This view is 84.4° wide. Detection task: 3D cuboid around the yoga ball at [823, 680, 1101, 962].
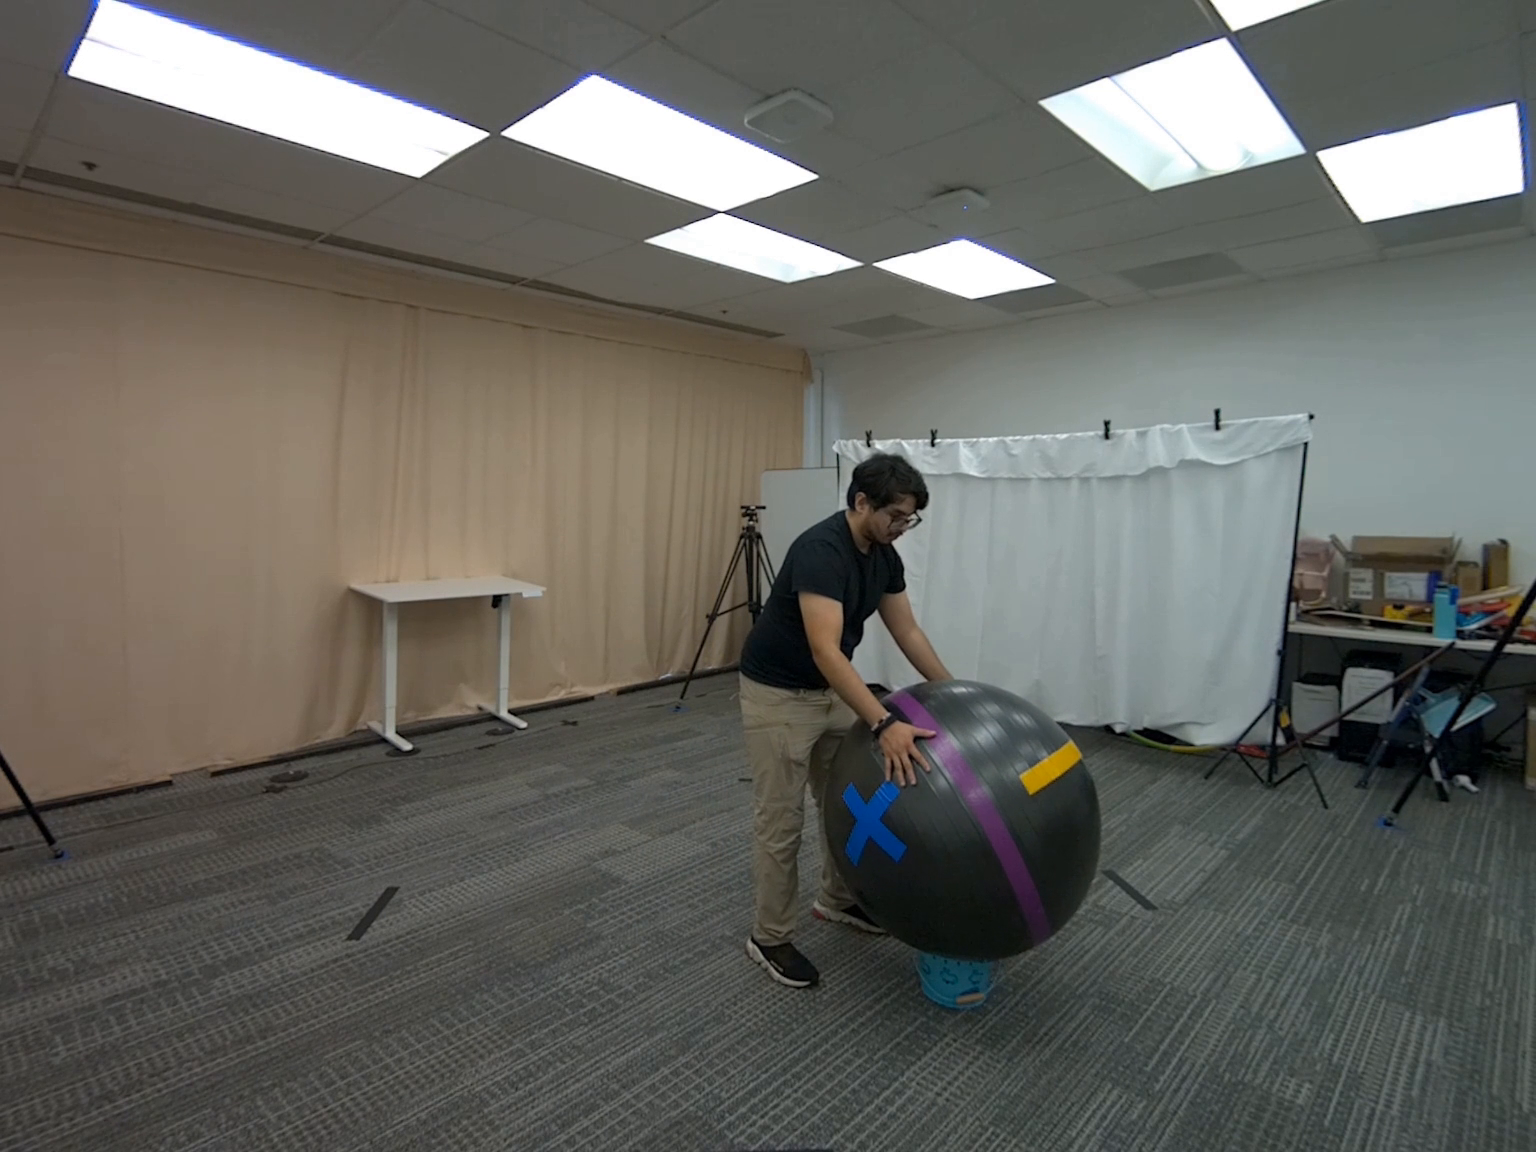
[{"bbox_3d":[0.538,0.685,2.399,0.757,0.756,0.760,0,4,-2],"label":"yoga ball"}]
